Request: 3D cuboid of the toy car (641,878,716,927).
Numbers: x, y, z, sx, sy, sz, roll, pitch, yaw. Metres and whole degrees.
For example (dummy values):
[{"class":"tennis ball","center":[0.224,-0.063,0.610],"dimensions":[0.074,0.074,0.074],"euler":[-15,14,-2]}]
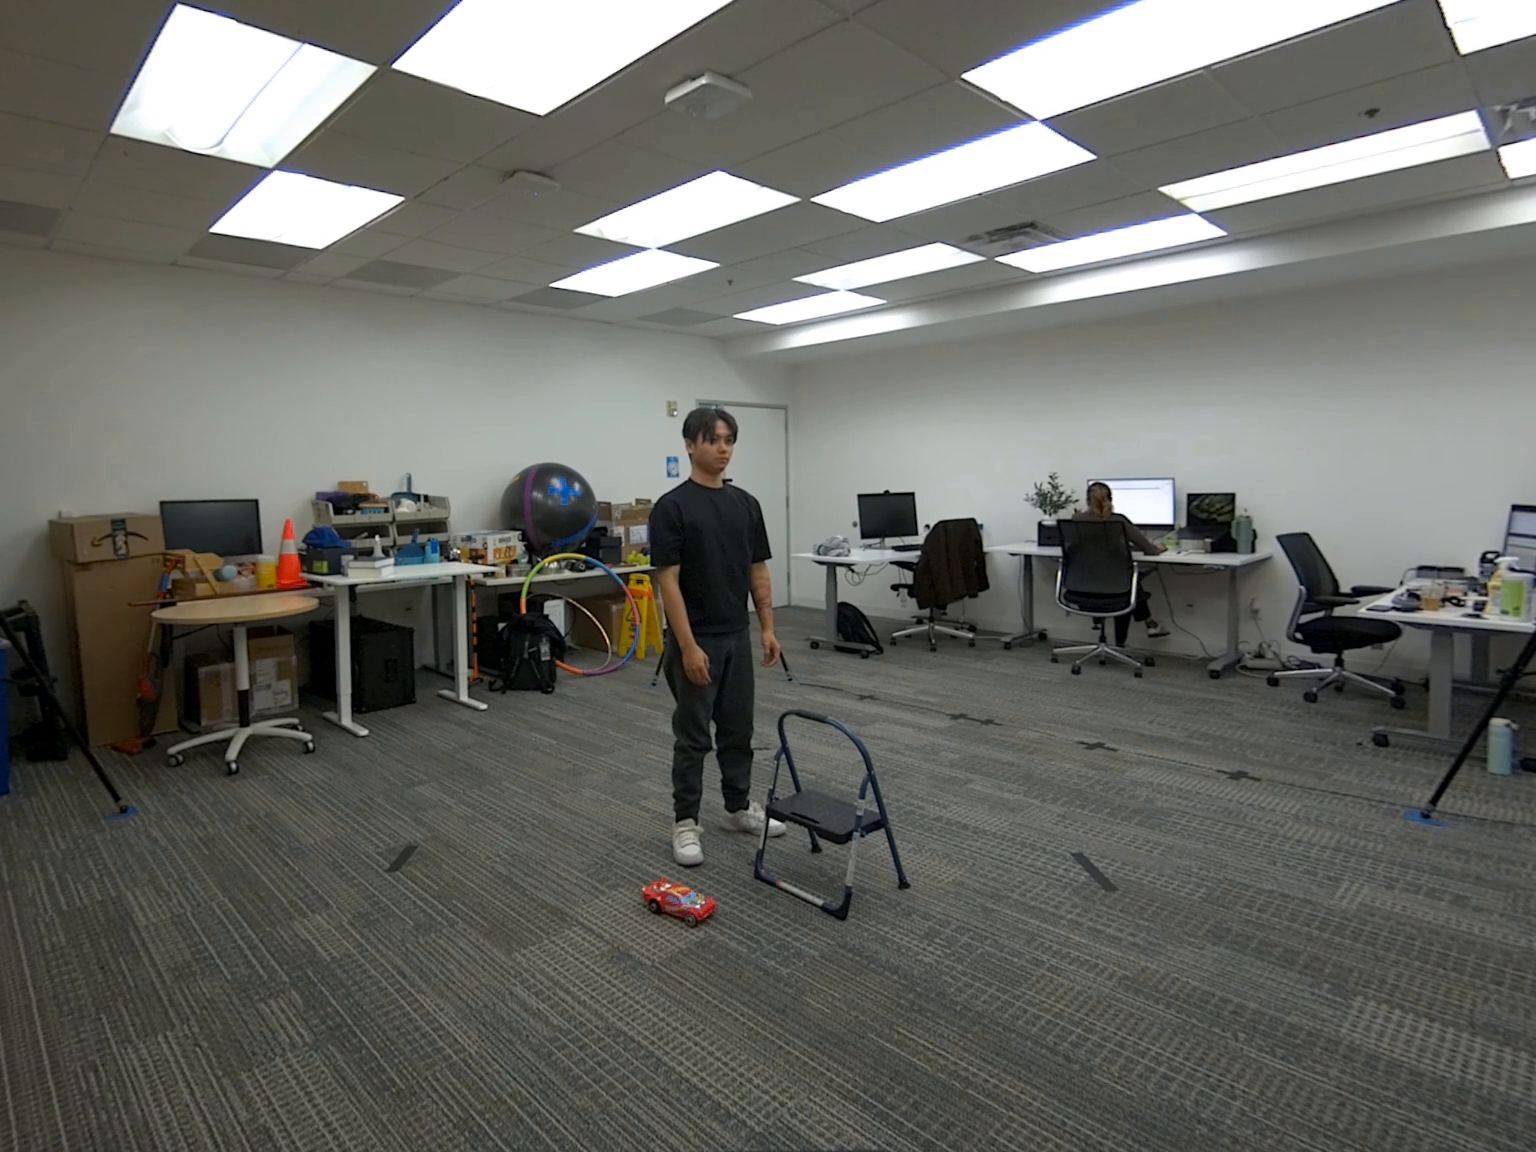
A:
[{"class":"toy car","center":[-0.290,1.062,2.771],"dimensions":[0.262,0.082,0.127],"euler":[16,15,30]}]
